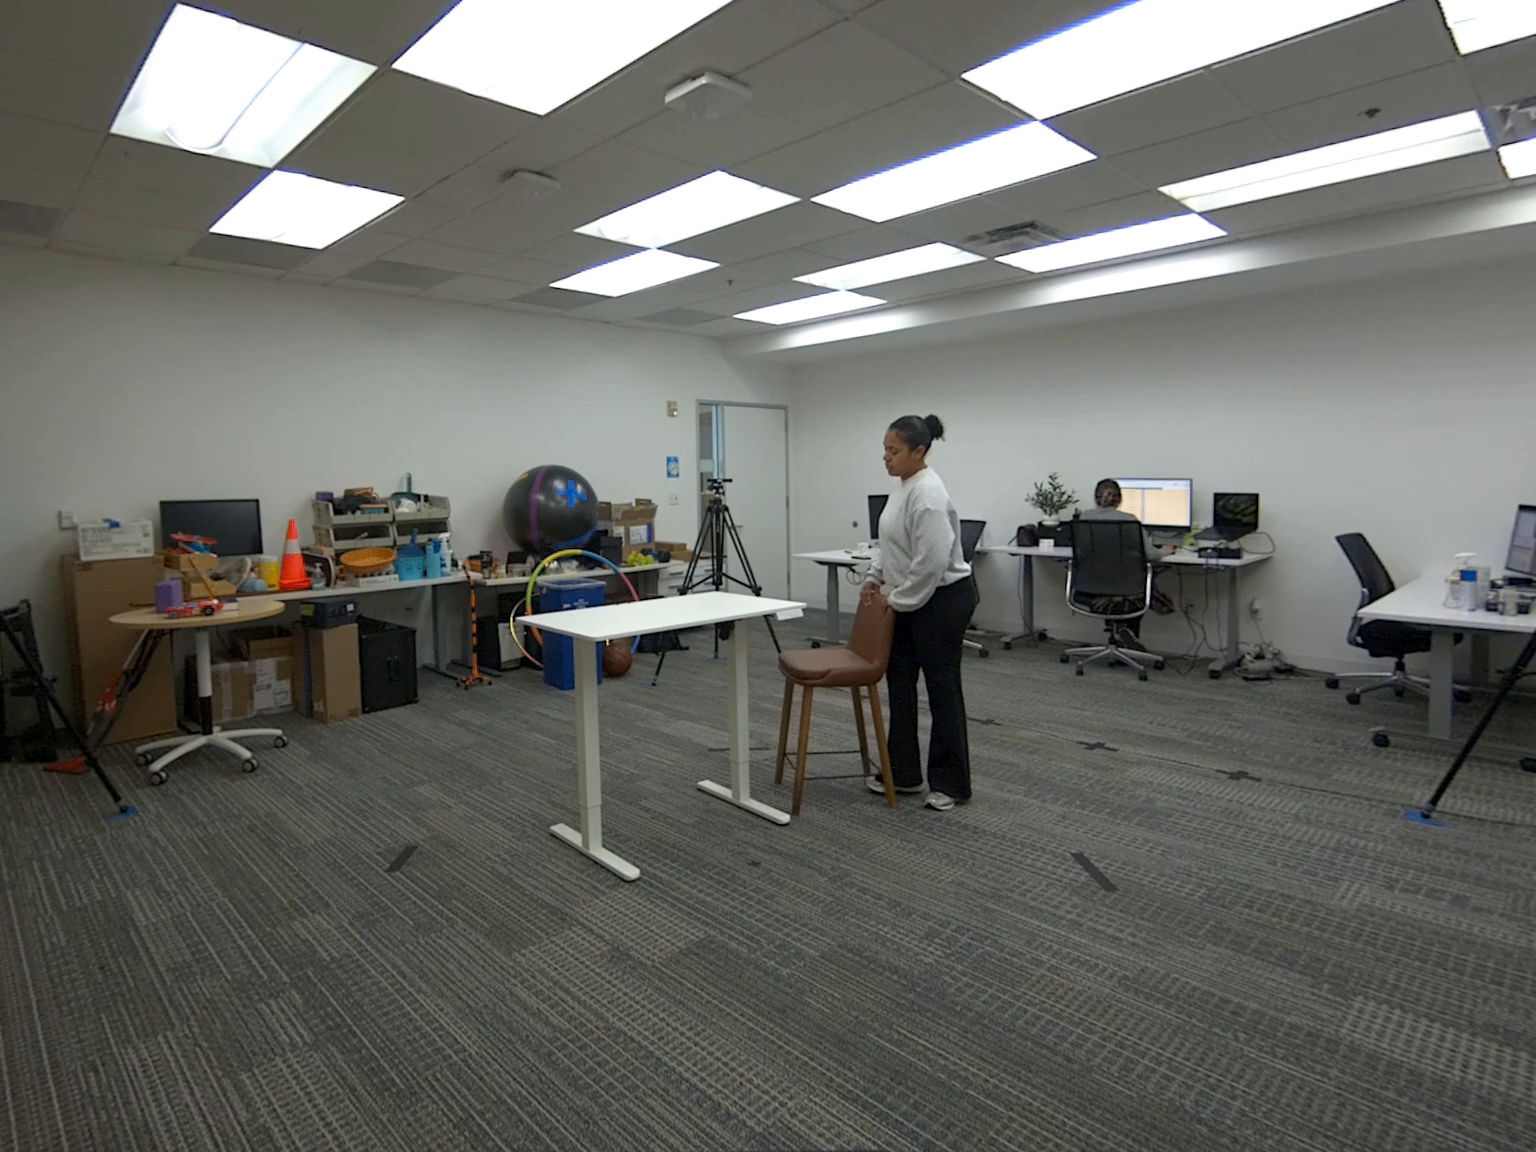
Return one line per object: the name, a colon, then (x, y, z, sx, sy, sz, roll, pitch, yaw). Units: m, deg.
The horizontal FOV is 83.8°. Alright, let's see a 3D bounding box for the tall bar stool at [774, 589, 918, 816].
tall bar stool: (0.300, 0.532, 3.742, 0.464, 0.887, 0.462, 1, 4, -9)
